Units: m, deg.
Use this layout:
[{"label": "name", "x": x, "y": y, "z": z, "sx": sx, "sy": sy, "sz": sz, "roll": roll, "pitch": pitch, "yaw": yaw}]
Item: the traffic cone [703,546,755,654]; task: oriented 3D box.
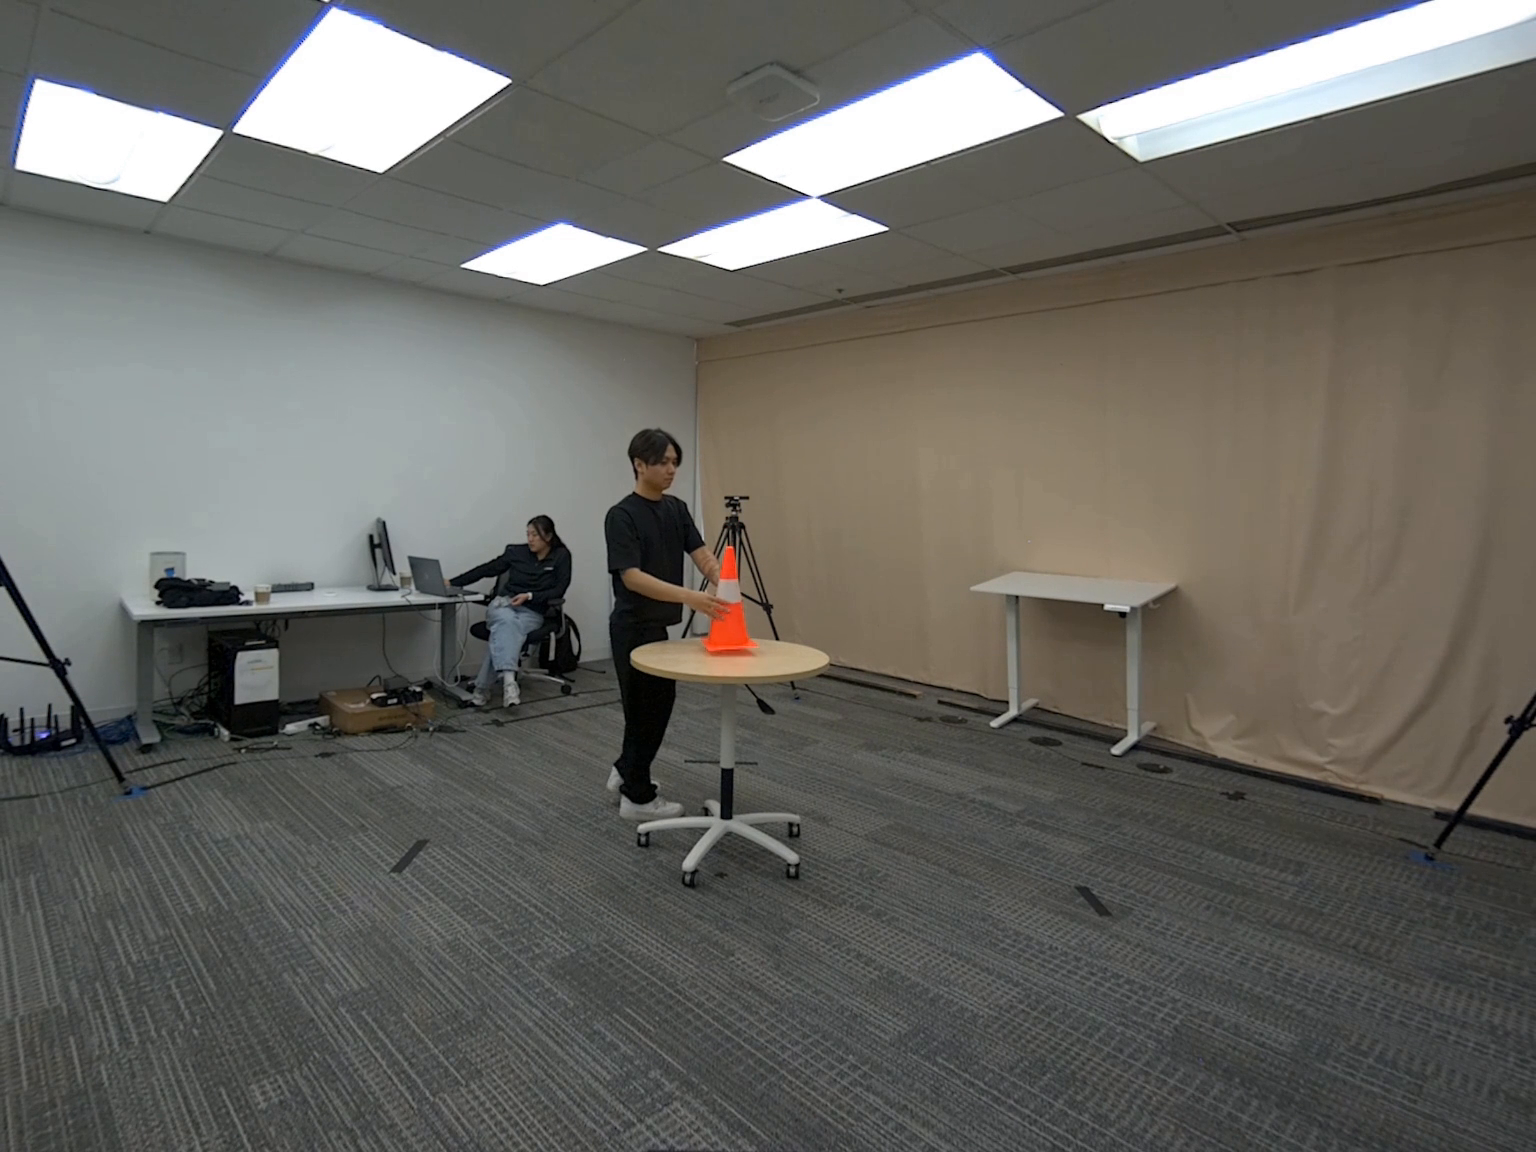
[{"label": "traffic cone", "x": -0.164, "y": 0.075, "z": 3.289, "sx": 0.201, "sy": 0.382, "sz": 0.208, "roll": -1, "pitch": 7, "yaw": -24}]
